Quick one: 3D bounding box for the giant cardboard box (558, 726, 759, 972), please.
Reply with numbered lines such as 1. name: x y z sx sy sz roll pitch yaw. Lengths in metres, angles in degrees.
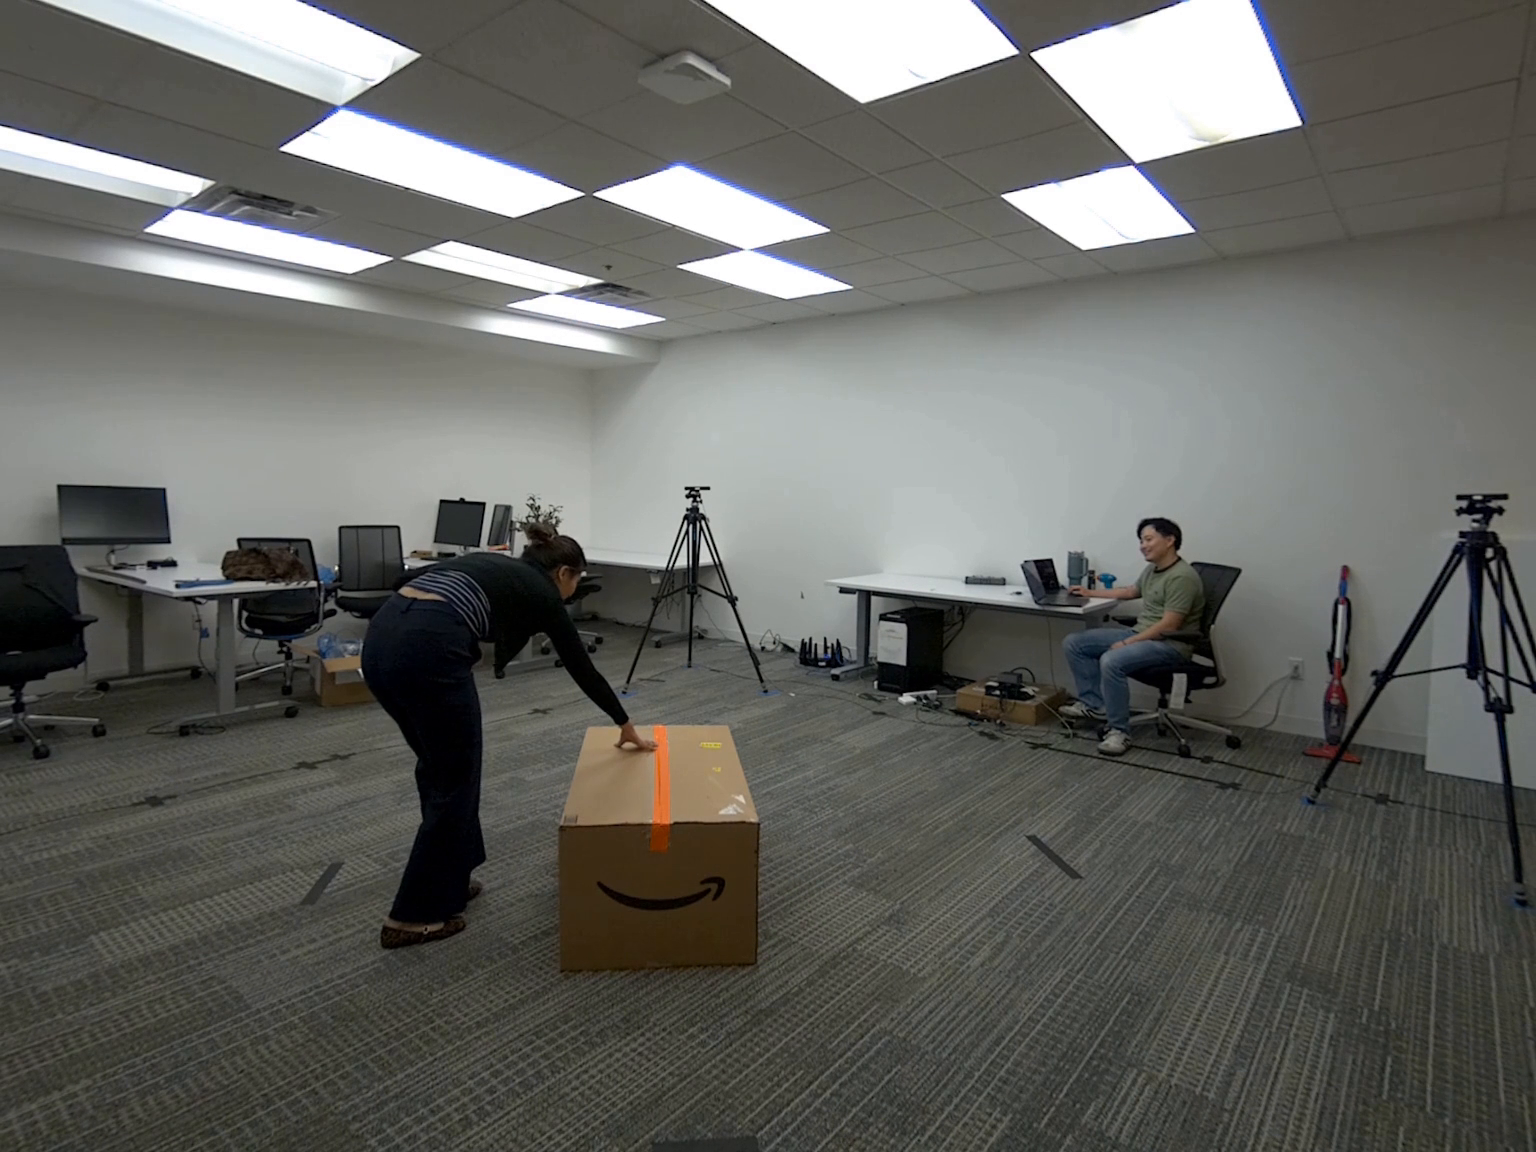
1. giant cardboard box: -0.389 0.863 2.944 0.574 0.424 1.037 0 5 -7
